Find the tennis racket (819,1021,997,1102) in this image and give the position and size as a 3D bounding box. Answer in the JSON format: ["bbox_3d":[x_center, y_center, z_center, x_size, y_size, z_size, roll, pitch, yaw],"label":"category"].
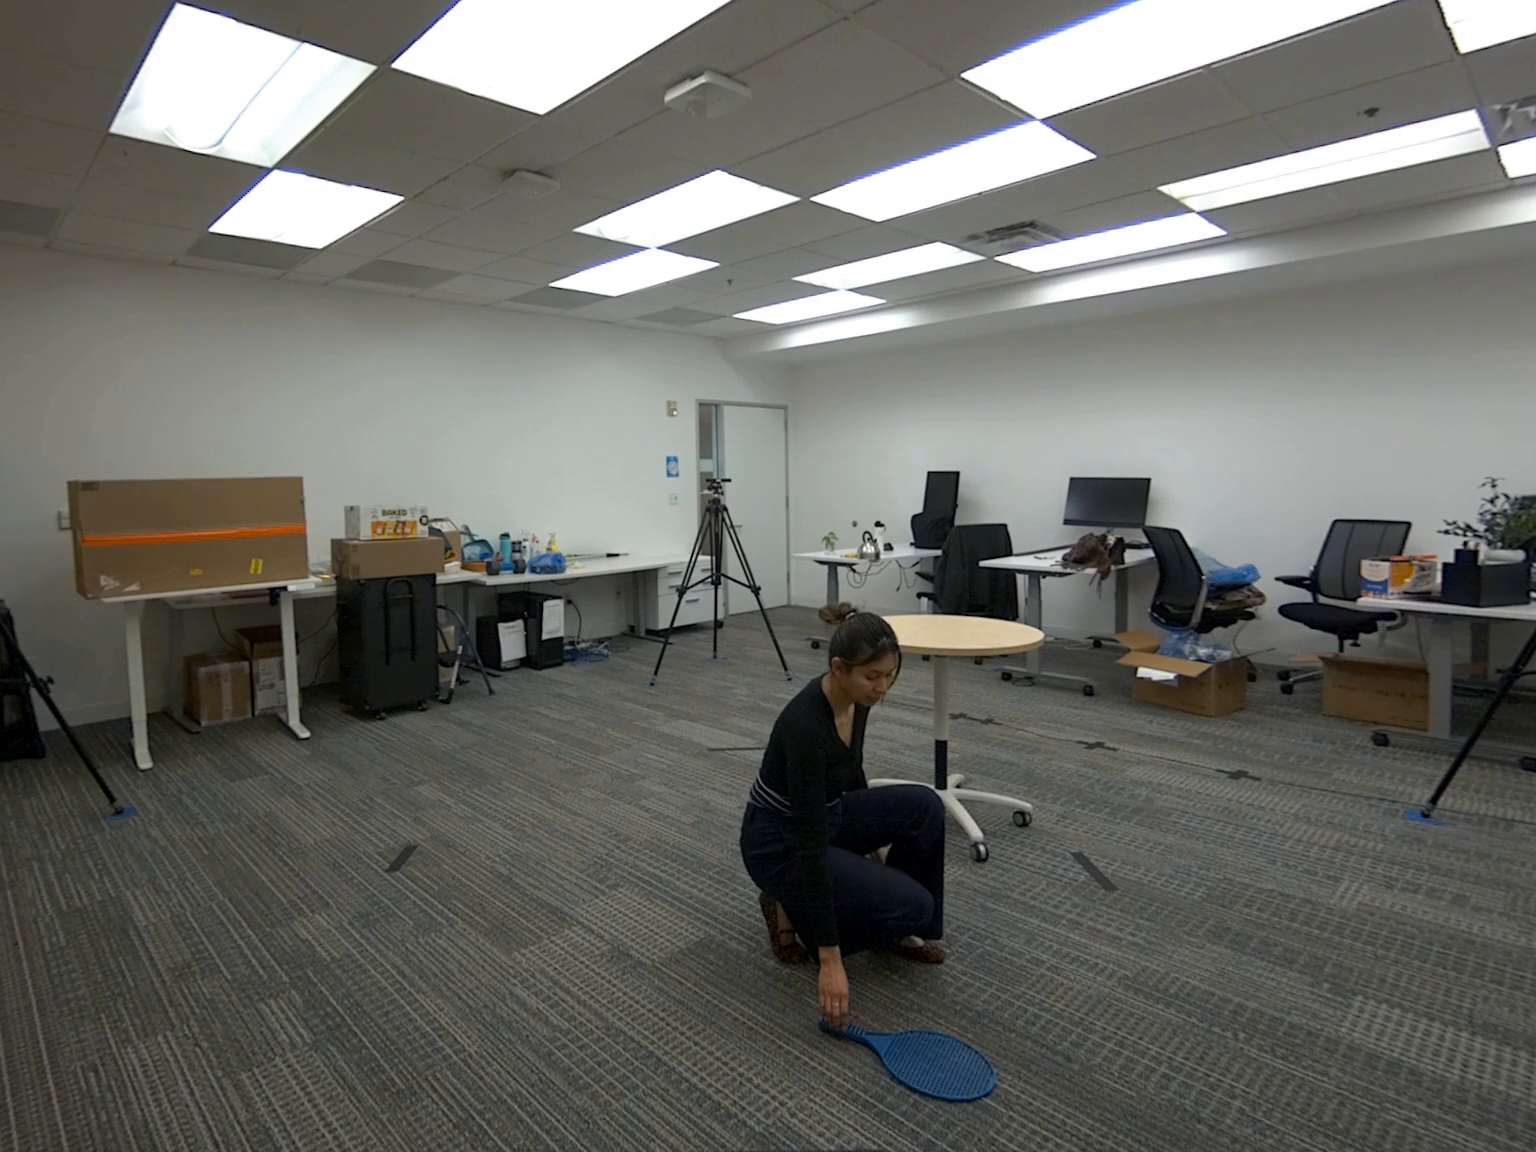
[{"bbox_3d":[0.331,1.151,2.059,0.444,0.031,0.210,4,10,29],"label":"tennis racket"}]
